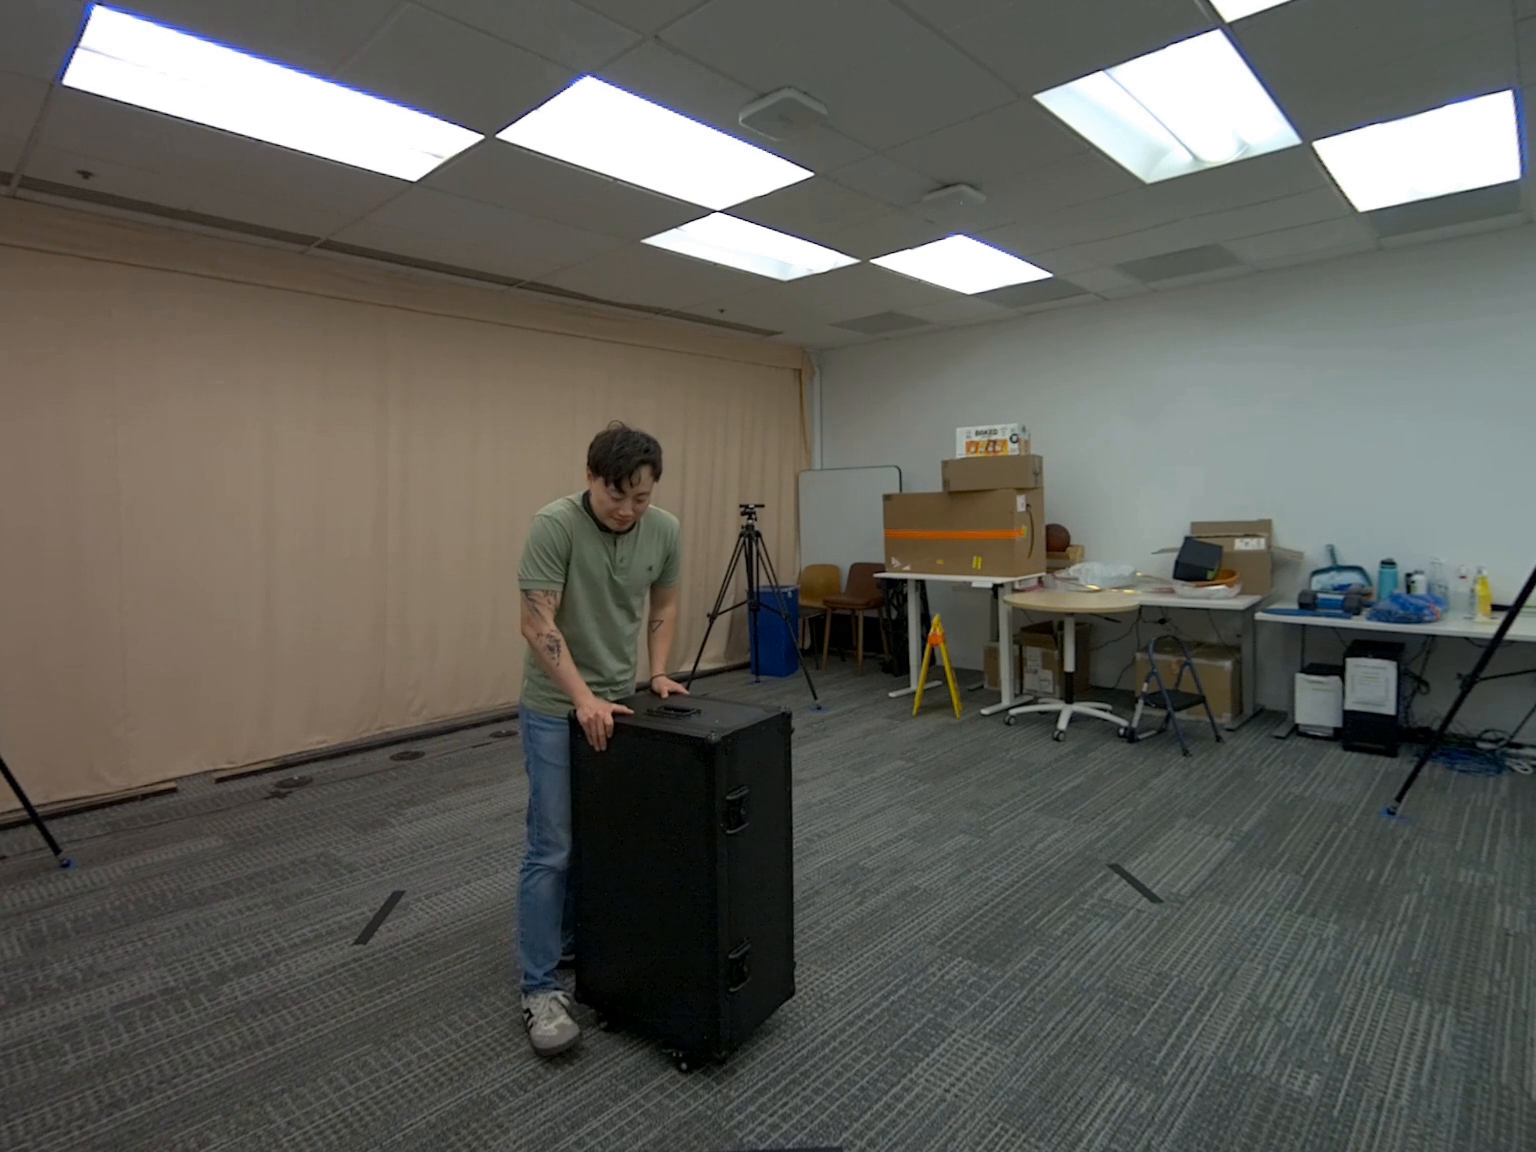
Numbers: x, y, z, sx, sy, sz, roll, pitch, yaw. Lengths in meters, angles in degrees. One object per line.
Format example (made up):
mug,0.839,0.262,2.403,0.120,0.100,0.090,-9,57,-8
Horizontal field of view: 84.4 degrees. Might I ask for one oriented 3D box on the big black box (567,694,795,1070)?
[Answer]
big black box,-0.215,0.784,2.251,0.537,0.860,0.385,2,3,34
